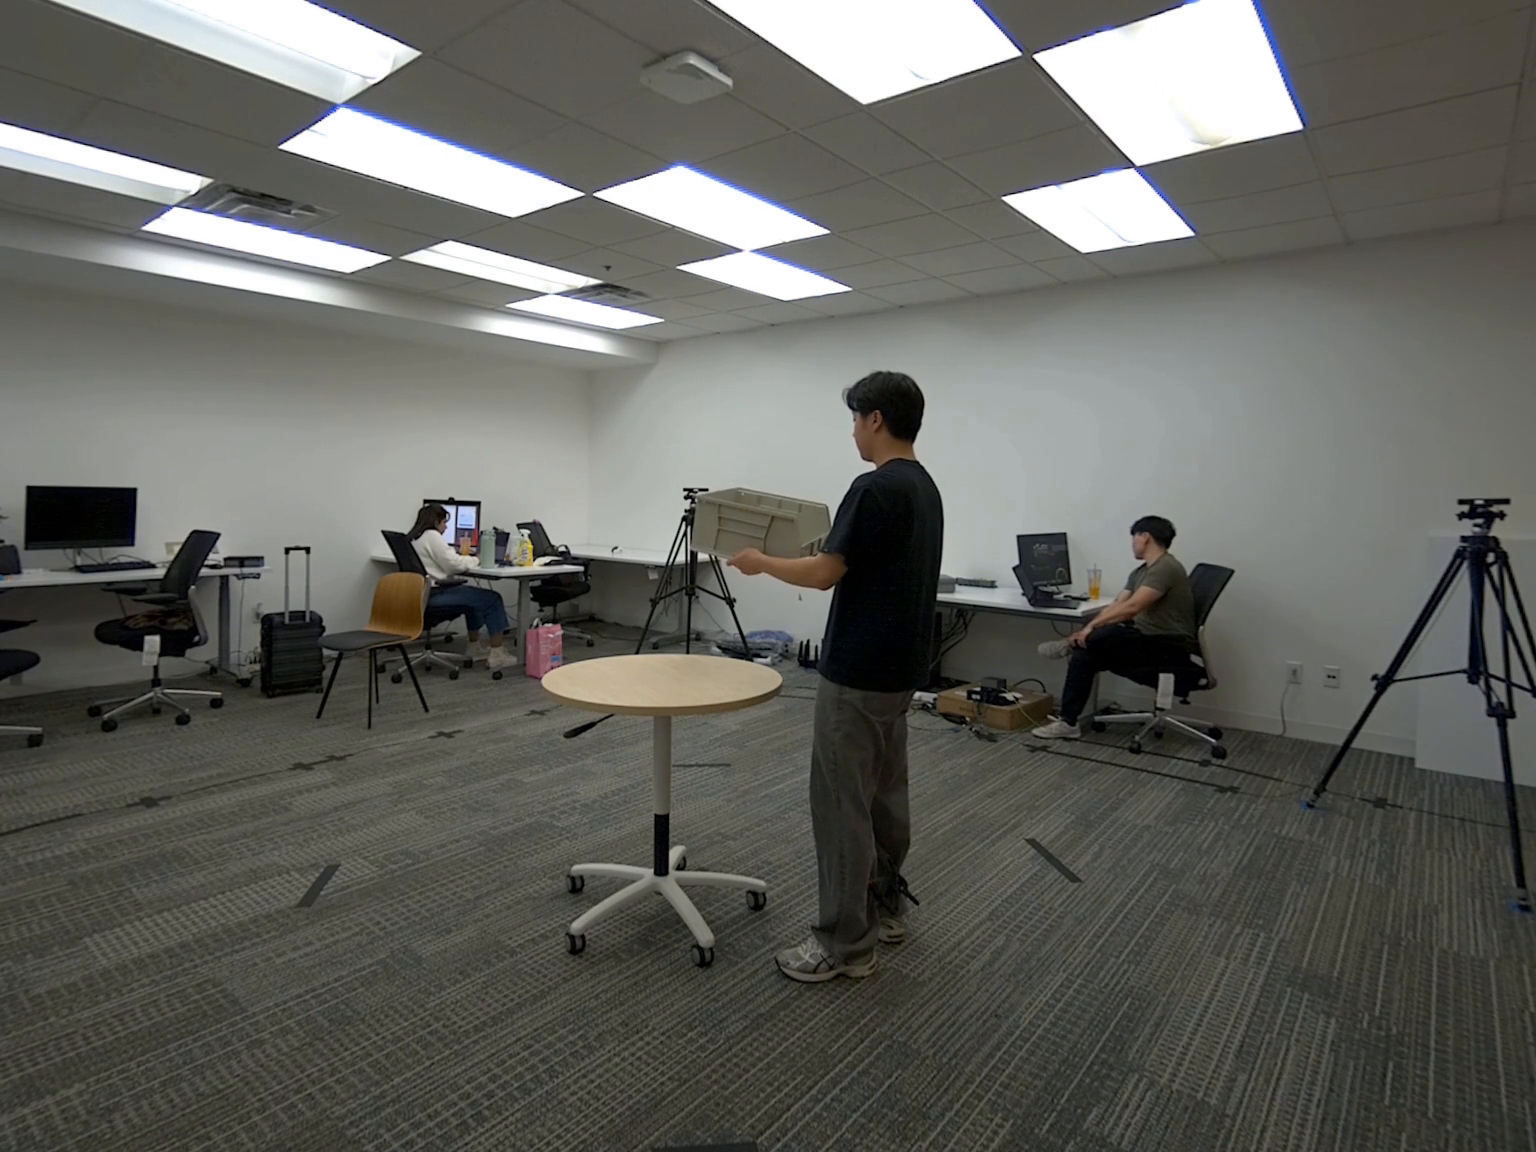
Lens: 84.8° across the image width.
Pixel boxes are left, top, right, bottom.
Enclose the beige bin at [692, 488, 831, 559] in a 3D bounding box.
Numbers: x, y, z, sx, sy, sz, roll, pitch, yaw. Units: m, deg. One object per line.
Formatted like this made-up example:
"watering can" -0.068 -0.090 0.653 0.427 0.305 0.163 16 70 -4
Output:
"beige bin" -0.018 -0.165 2.829 0.385 0.187 0.417 12 13 17
